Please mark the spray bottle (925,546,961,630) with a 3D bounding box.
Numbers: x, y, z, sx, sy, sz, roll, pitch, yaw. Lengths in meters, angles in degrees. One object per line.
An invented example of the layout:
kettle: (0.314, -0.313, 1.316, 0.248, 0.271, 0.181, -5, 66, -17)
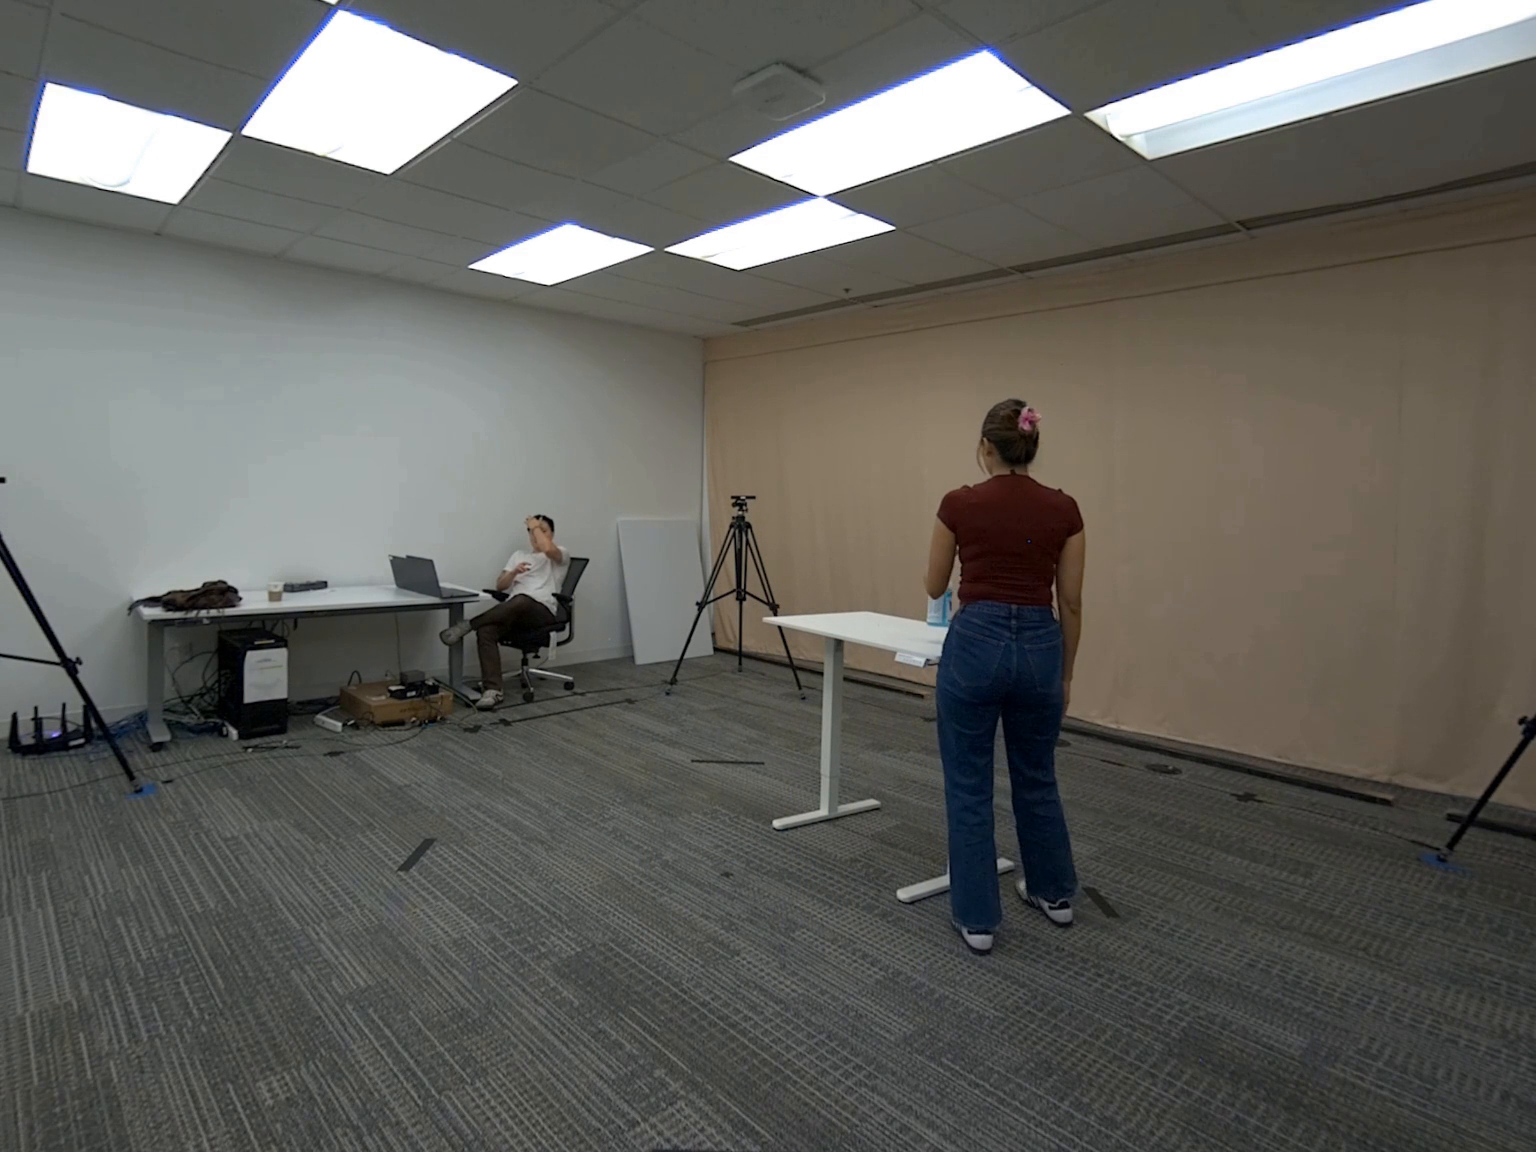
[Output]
spray bottle: (0.638, 0.041, 3.071, 0.086, 0.298, 0.090, 5, -2, -10)
